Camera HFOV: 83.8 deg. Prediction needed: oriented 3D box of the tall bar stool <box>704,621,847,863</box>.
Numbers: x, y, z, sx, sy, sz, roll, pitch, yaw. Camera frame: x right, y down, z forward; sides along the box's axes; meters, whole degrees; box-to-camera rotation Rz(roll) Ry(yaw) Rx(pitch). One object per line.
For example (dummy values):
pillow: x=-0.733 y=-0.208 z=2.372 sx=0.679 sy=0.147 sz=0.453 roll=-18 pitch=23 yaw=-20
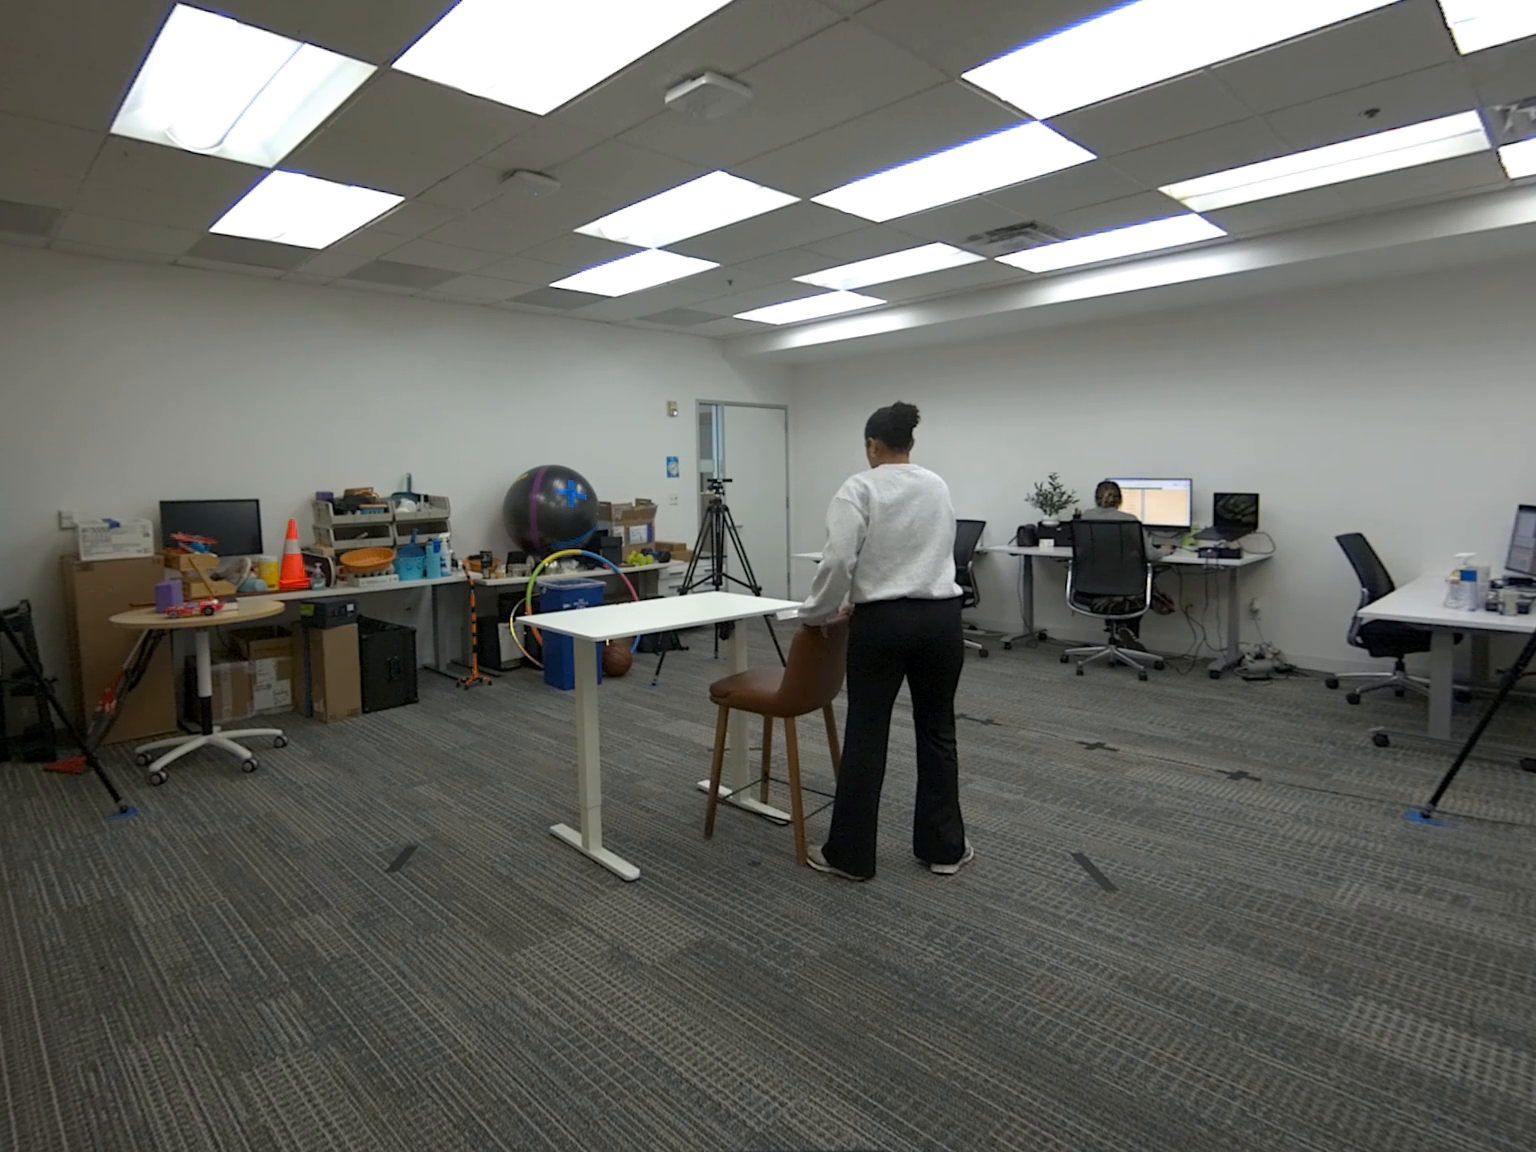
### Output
tall bar stool: x=0.056 y=0.576 z=3.323 sx=0.482 sy=0.885 sz=0.445 roll=6 pitch=7 yaw=37
